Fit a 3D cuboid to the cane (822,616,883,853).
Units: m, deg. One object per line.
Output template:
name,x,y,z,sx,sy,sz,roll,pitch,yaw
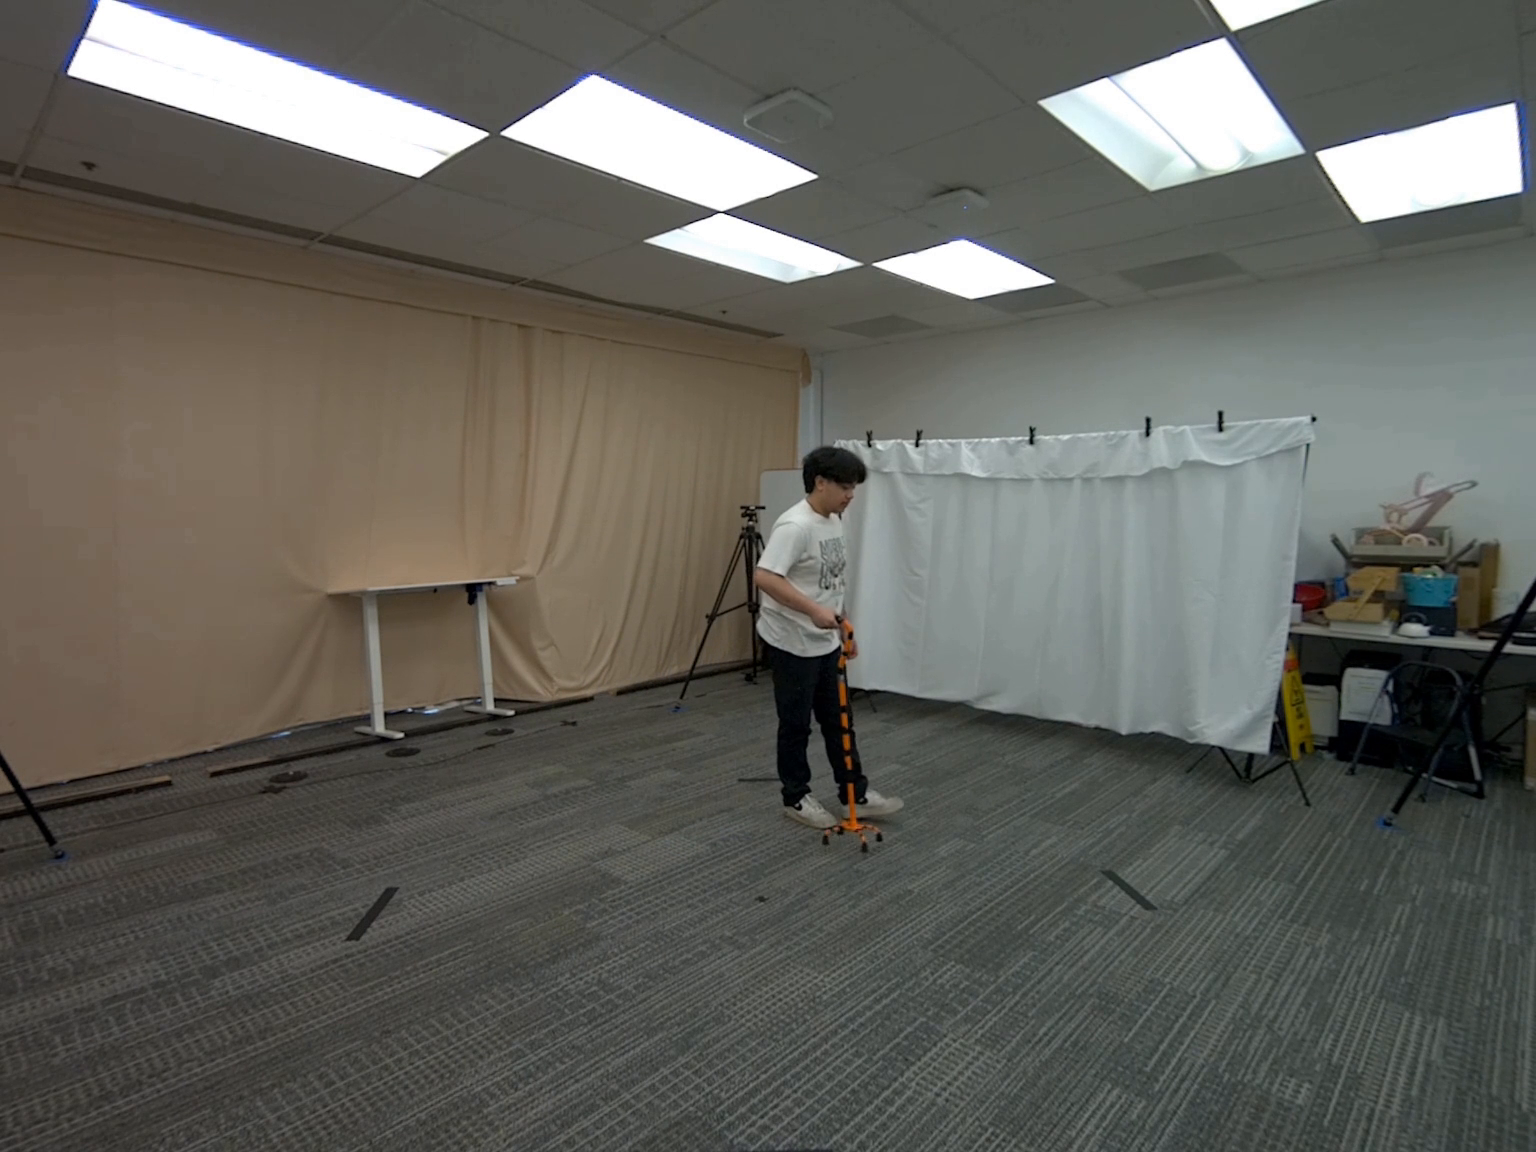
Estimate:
cane,0.297,0.628,3.368,0.212,0.906,0.147,-3,3,34
